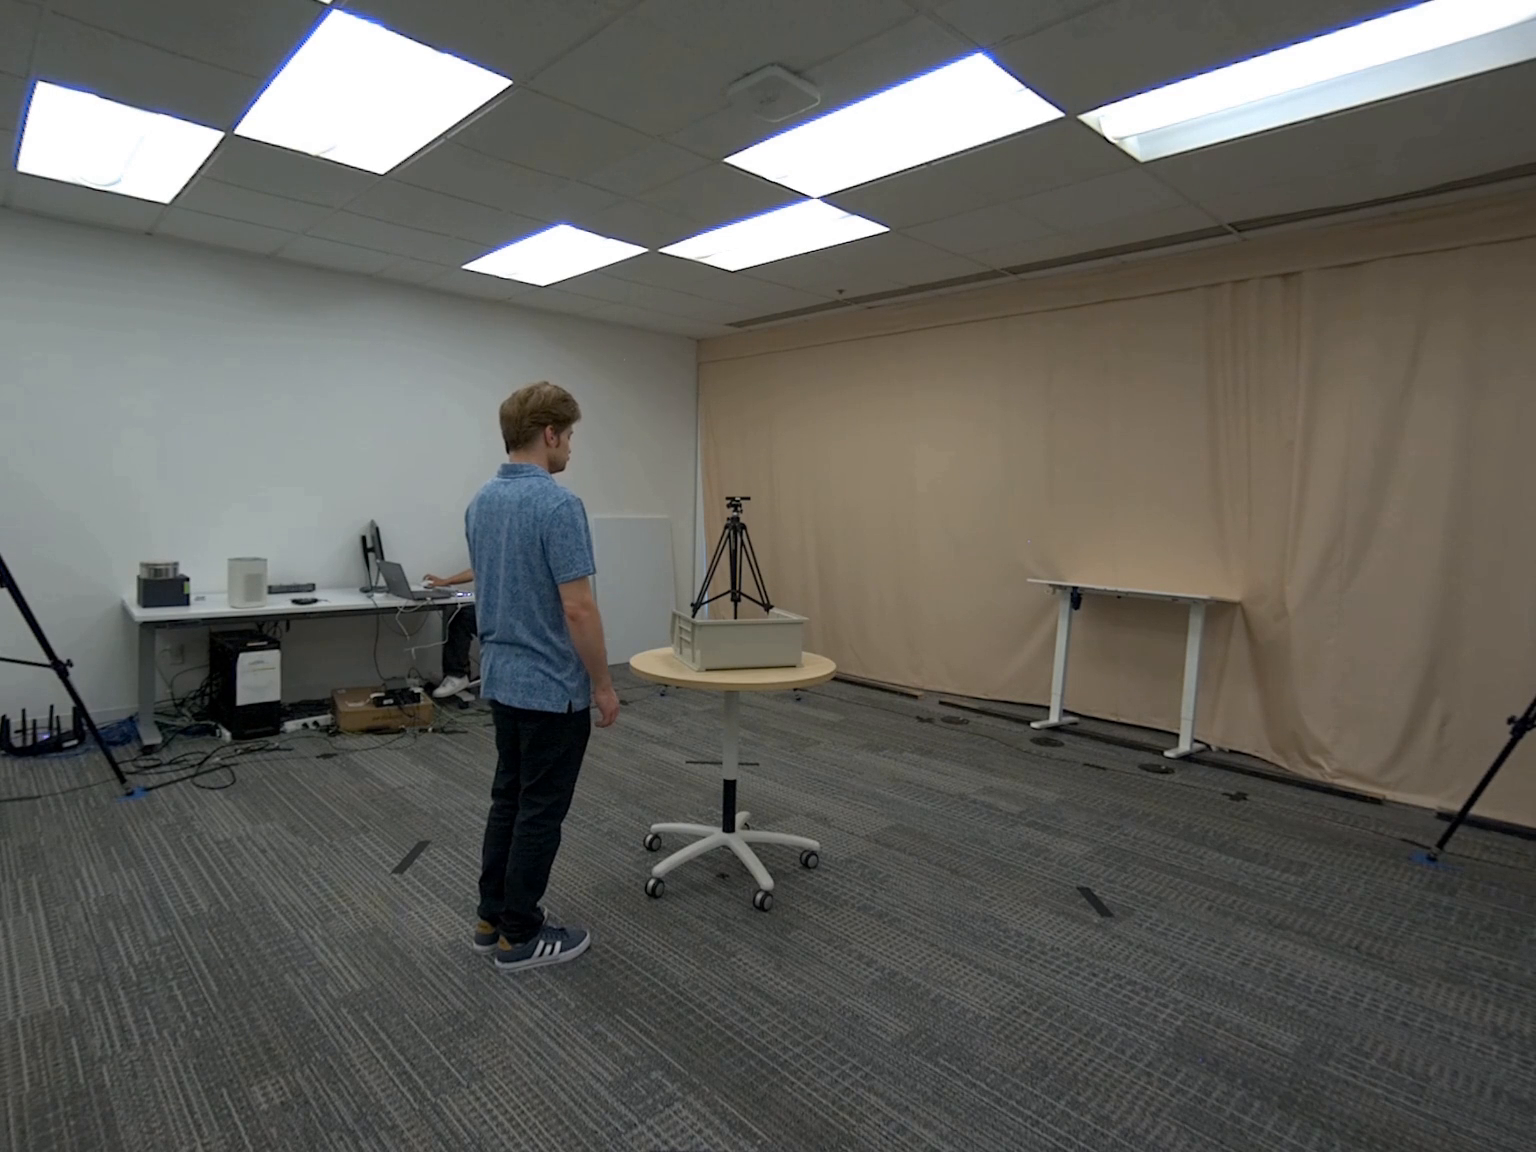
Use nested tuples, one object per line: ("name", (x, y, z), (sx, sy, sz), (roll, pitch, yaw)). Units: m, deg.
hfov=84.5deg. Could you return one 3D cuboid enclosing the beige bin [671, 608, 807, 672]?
("beige bin", (-0.124, 0.230, 3.151), (0.416, 0.188, 0.384), (0, 6, -20))
